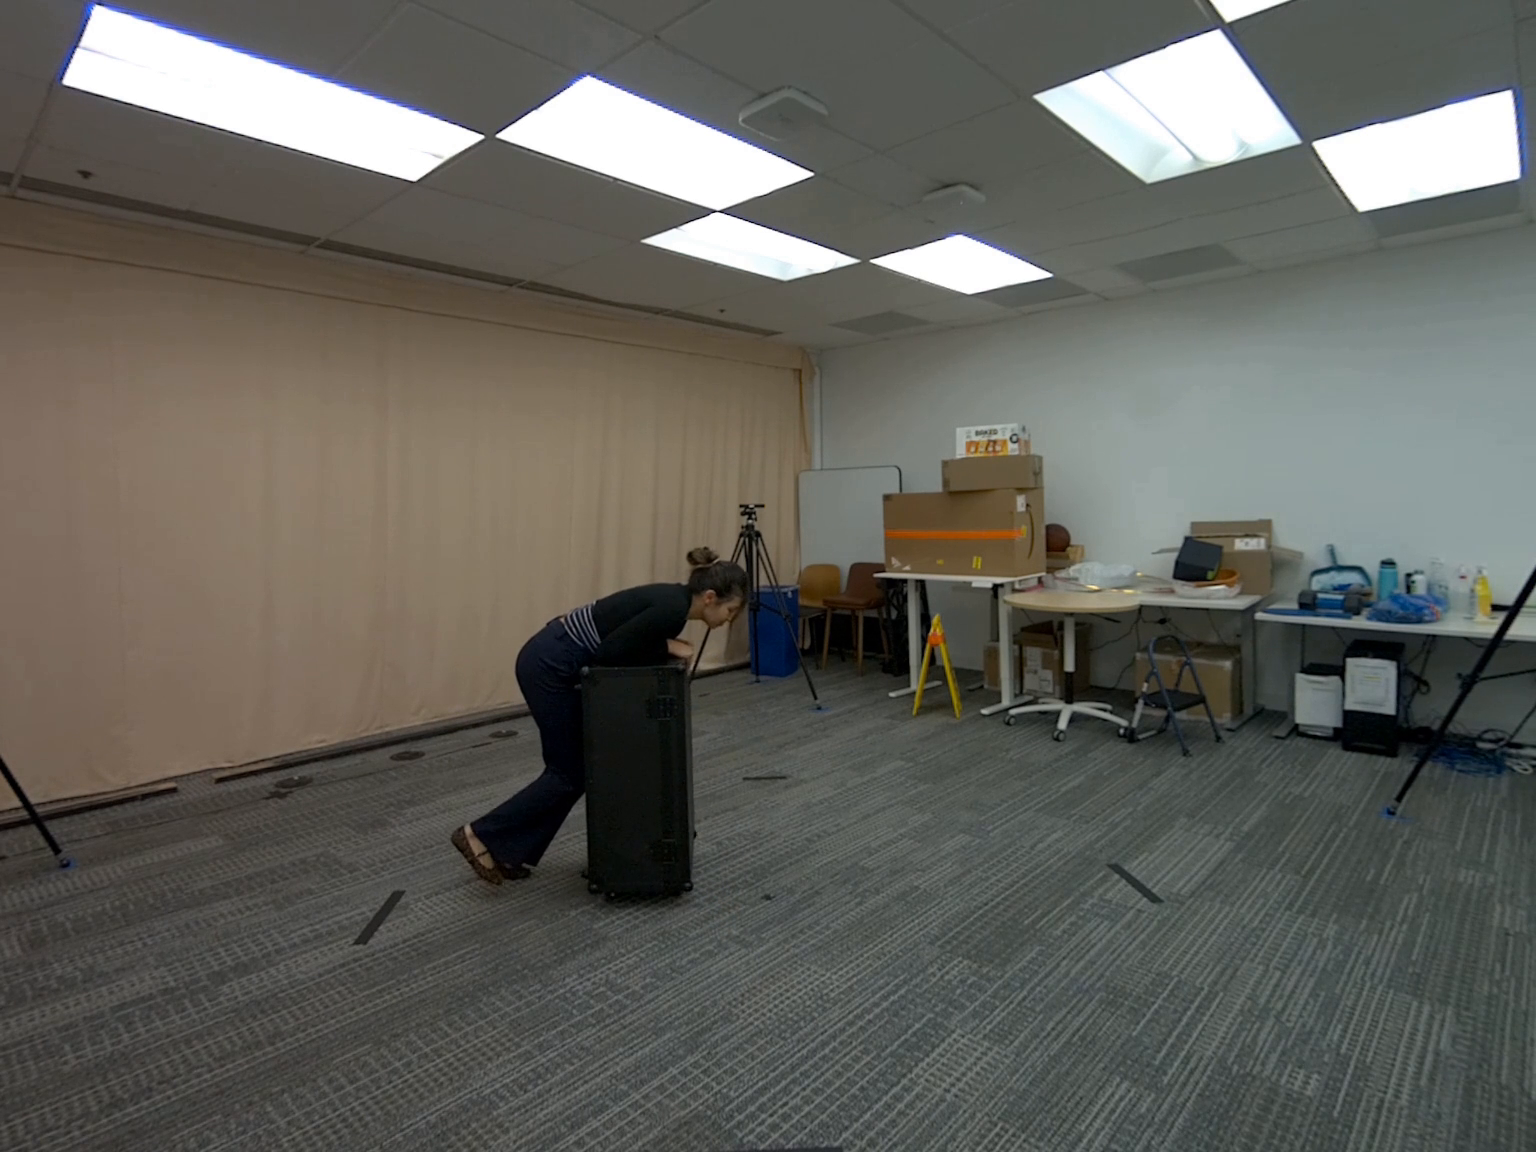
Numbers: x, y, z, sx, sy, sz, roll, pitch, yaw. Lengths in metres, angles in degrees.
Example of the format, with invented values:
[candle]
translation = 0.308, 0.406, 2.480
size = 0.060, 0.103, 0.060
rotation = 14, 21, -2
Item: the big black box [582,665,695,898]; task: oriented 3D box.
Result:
[big black box]
translation = -0.471, 0.718, 3.109
size = 0.396, 0.859, 0.523
rotation = -3, 4, -2
